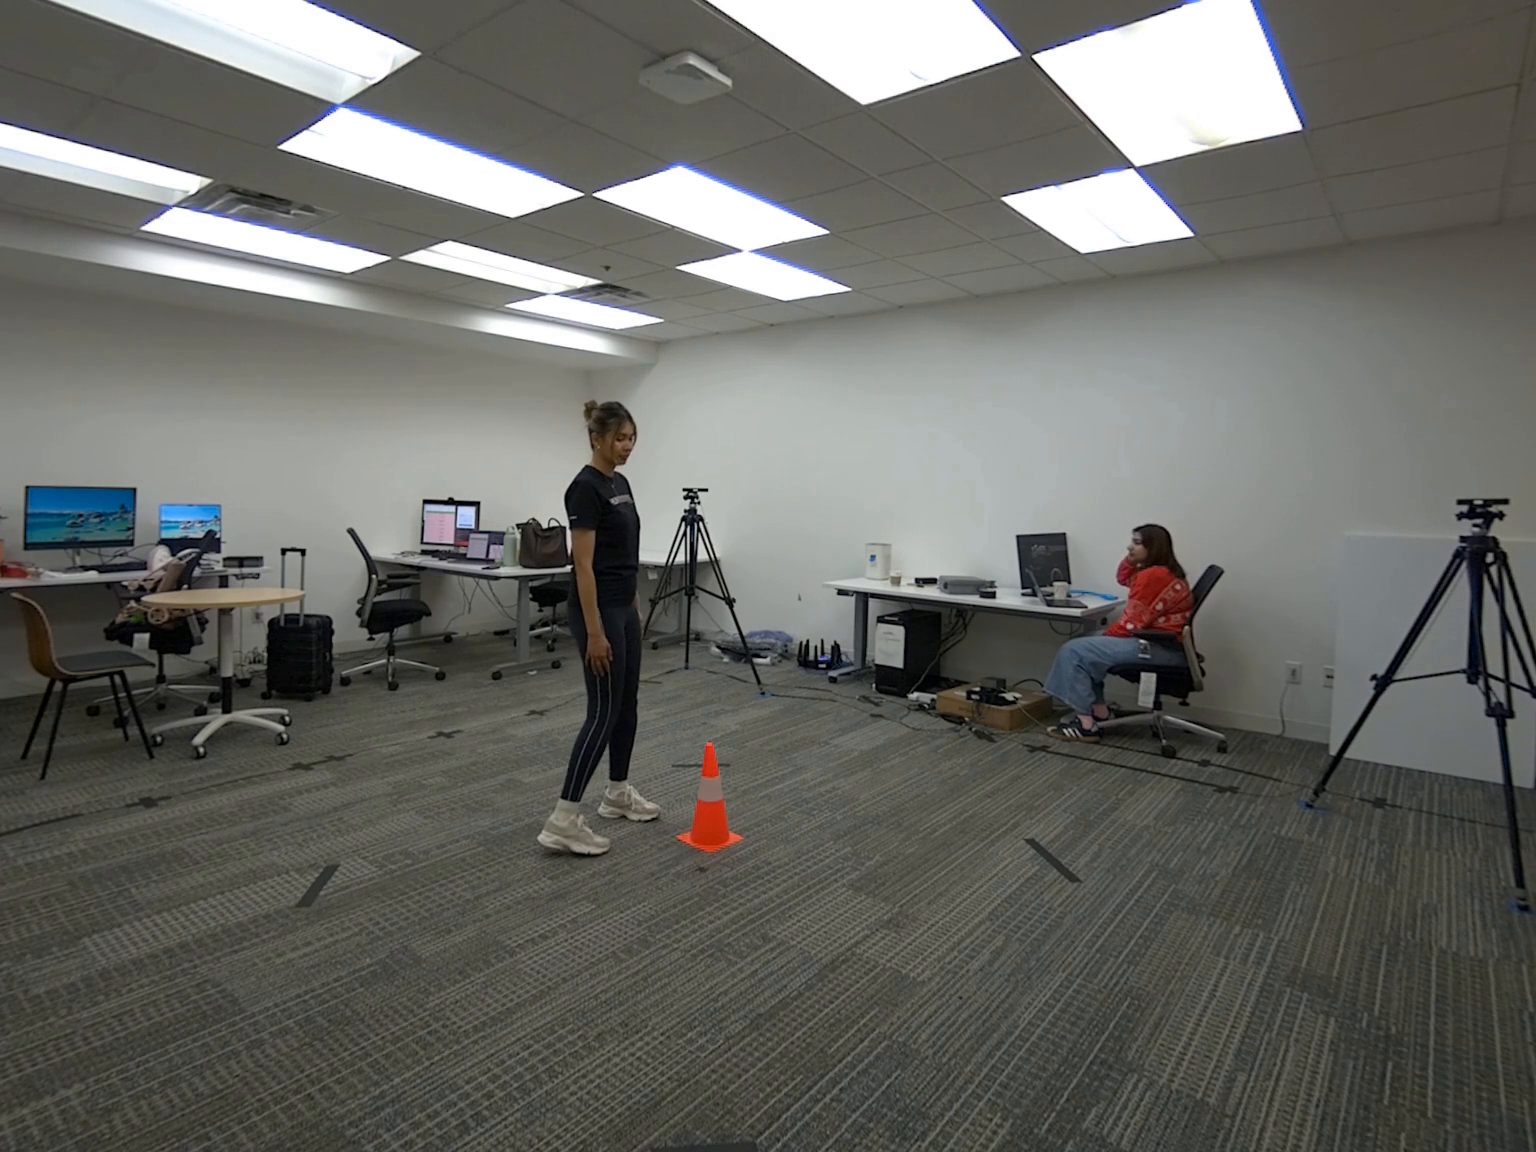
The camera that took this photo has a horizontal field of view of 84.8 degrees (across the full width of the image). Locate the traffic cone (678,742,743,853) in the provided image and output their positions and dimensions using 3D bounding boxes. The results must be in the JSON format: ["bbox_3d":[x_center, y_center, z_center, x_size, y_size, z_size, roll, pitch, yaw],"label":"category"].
[{"bbox_3d":[-0.241,0.861,3.385,0.210,0.382,0.199,4,4,36],"label":"traffic cone"}]
